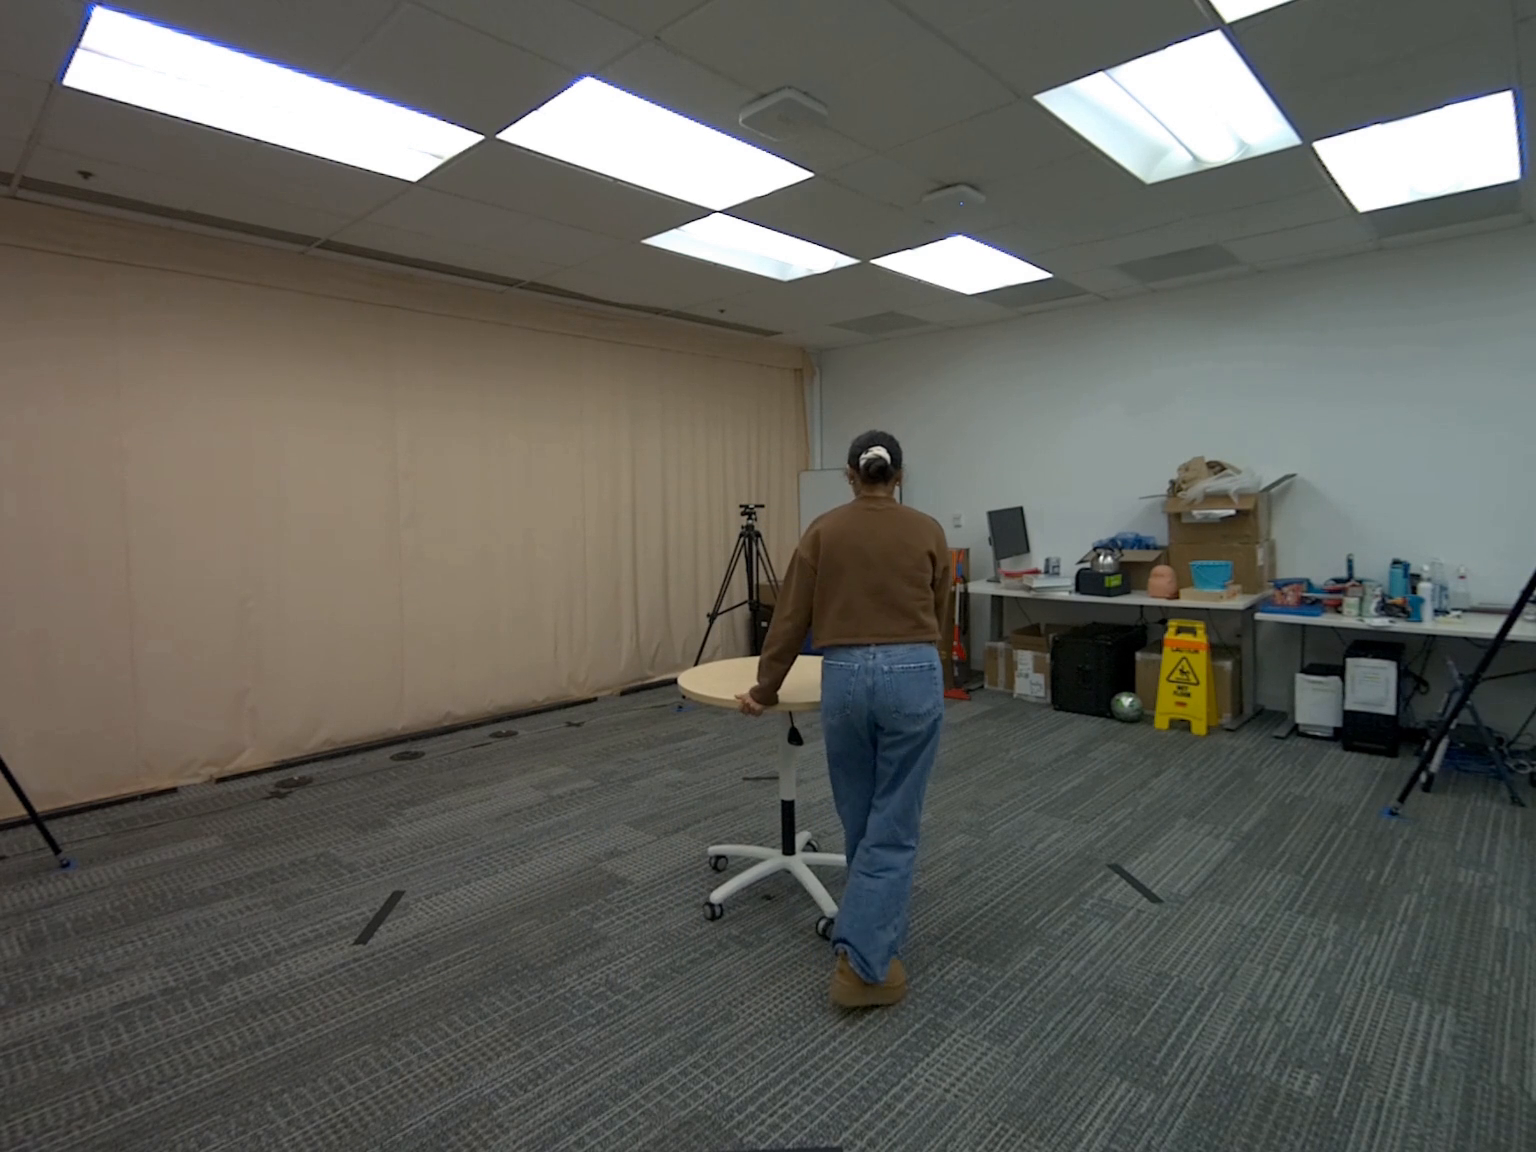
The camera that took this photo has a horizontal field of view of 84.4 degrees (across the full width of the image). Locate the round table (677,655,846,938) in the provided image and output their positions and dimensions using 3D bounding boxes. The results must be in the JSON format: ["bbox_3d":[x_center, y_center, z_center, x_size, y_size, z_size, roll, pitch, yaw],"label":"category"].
[{"bbox_3d":[0.076,0.744,2.989,0.784,0.785,0.788,-1,4,-2],"label":"round table"}]
